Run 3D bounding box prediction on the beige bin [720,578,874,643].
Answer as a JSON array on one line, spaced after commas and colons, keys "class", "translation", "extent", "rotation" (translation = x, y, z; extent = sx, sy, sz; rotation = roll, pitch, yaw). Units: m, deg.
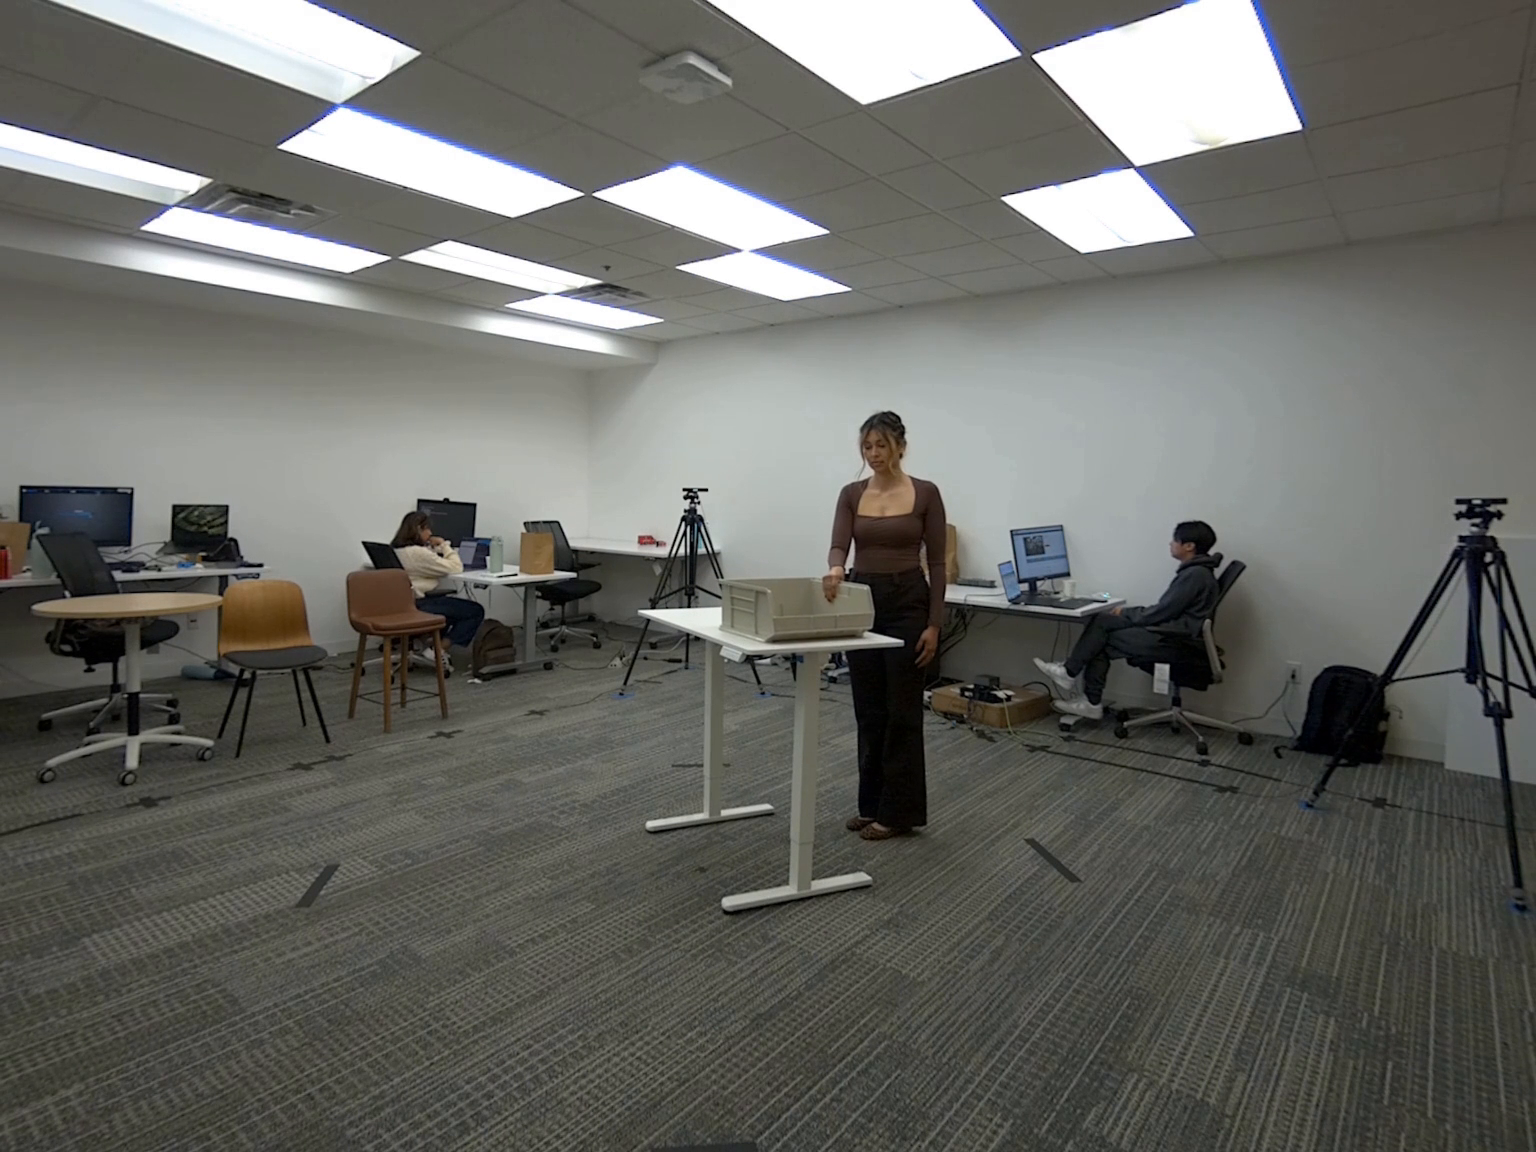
[{"class": "beige bin", "translation": [0.087, 0.113, 2.989], "extent": [0.411, 0.188, 0.389], "rotation": [-2, 5, -31]}]
